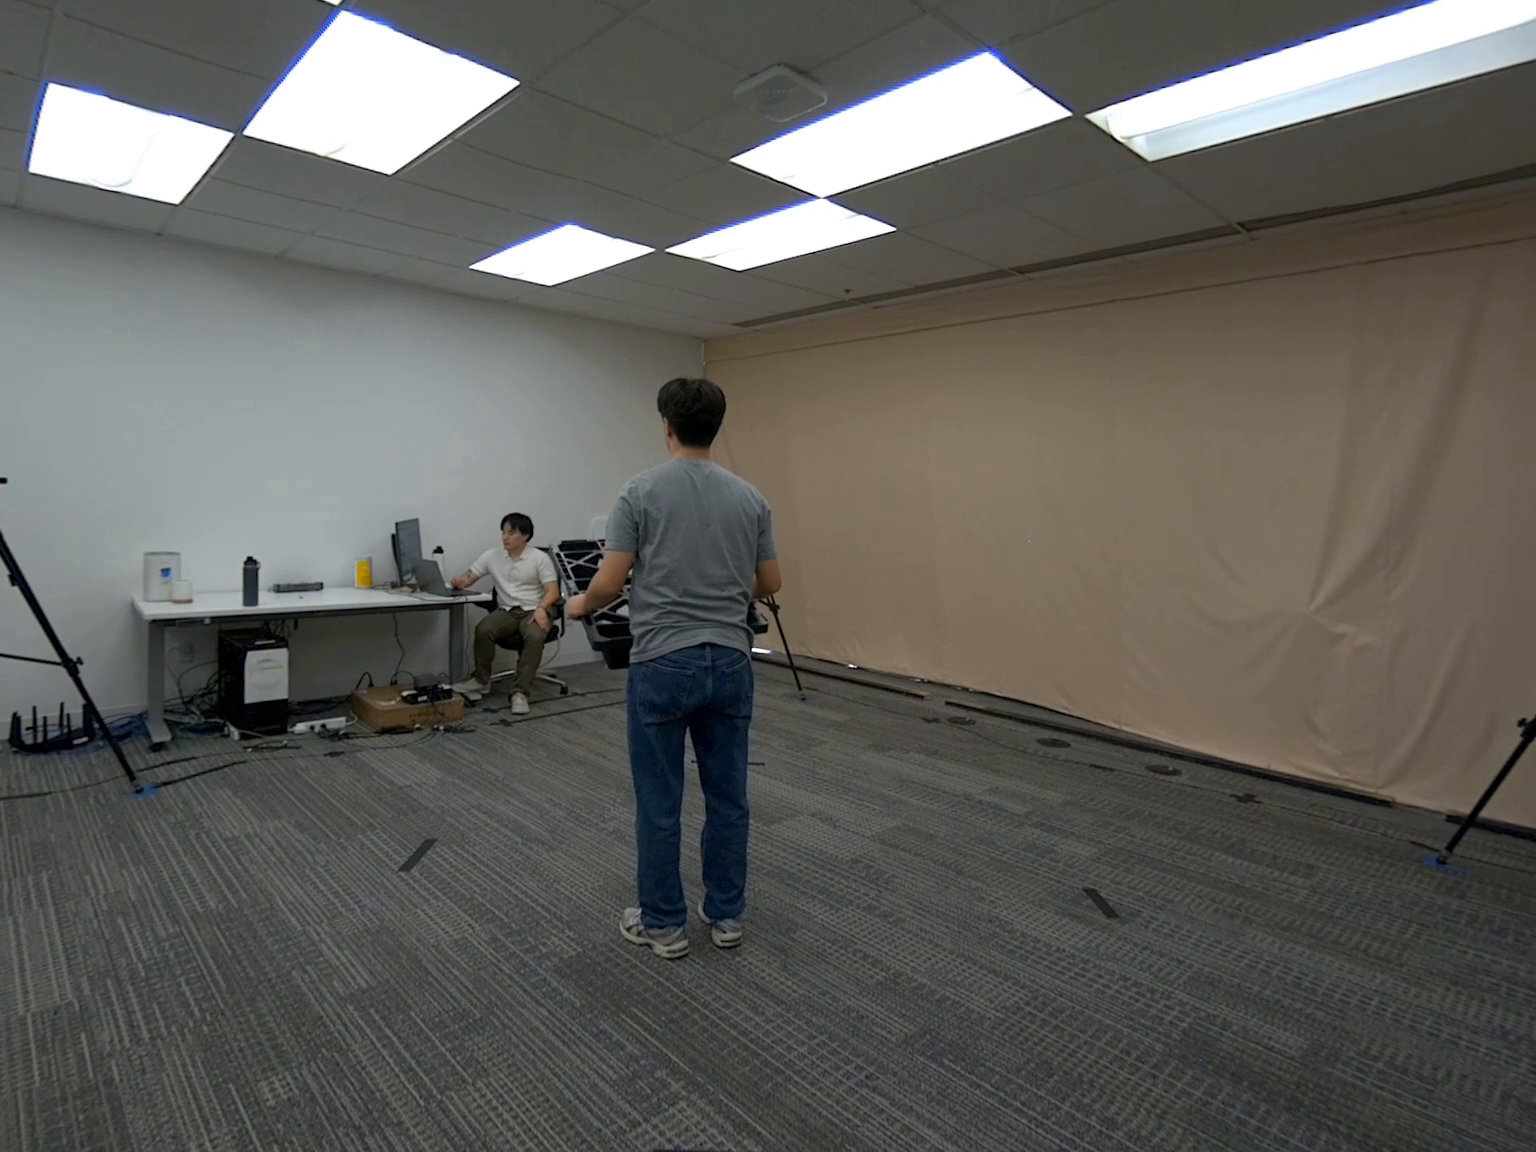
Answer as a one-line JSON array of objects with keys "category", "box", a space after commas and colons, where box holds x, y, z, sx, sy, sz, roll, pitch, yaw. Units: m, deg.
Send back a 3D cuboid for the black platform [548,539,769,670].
[{"category": "black platform", "box": [-0.434, 0.068, 3.058, 0.596, 0.141, 0.829, -4, 27, -22]}]
